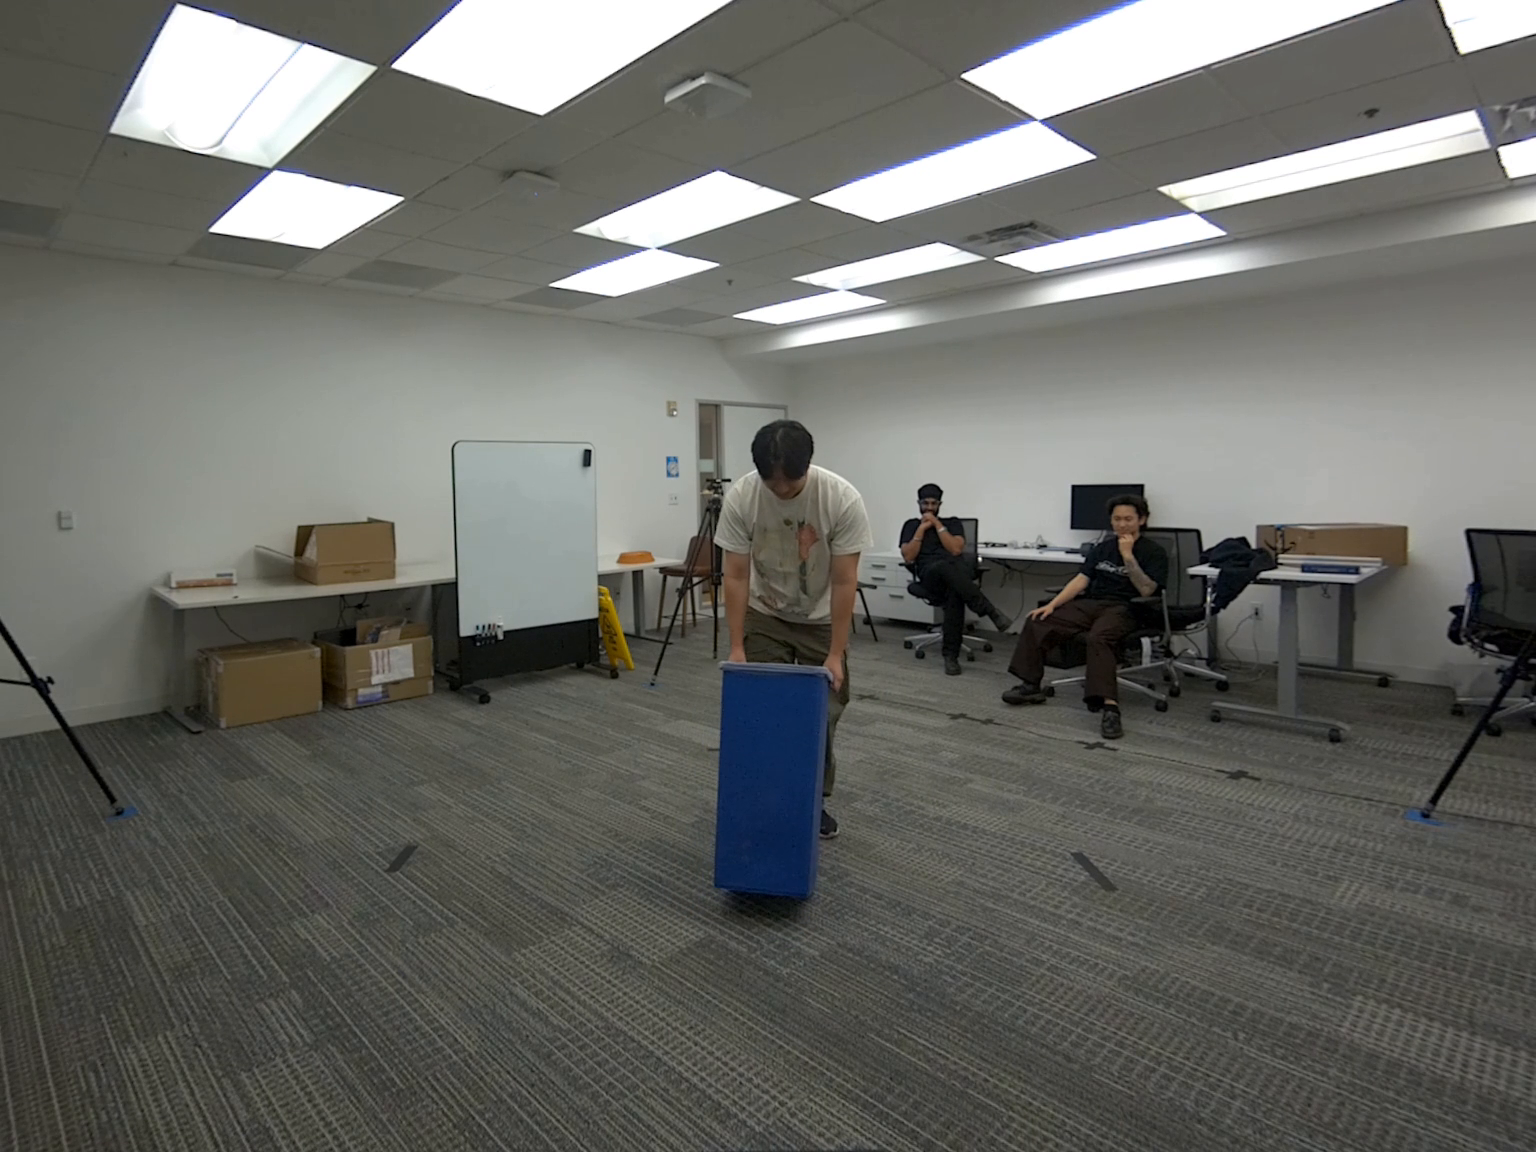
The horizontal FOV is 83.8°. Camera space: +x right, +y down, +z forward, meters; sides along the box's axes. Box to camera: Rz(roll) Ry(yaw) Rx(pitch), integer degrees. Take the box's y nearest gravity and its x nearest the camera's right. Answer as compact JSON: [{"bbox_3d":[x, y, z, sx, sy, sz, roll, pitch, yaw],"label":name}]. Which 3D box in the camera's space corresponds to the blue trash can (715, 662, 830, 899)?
[{"bbox_3d":[0.012,0.682,2.898,0.382,0.723,0.365,1,-15,10],"label":"blue trash can"}]
